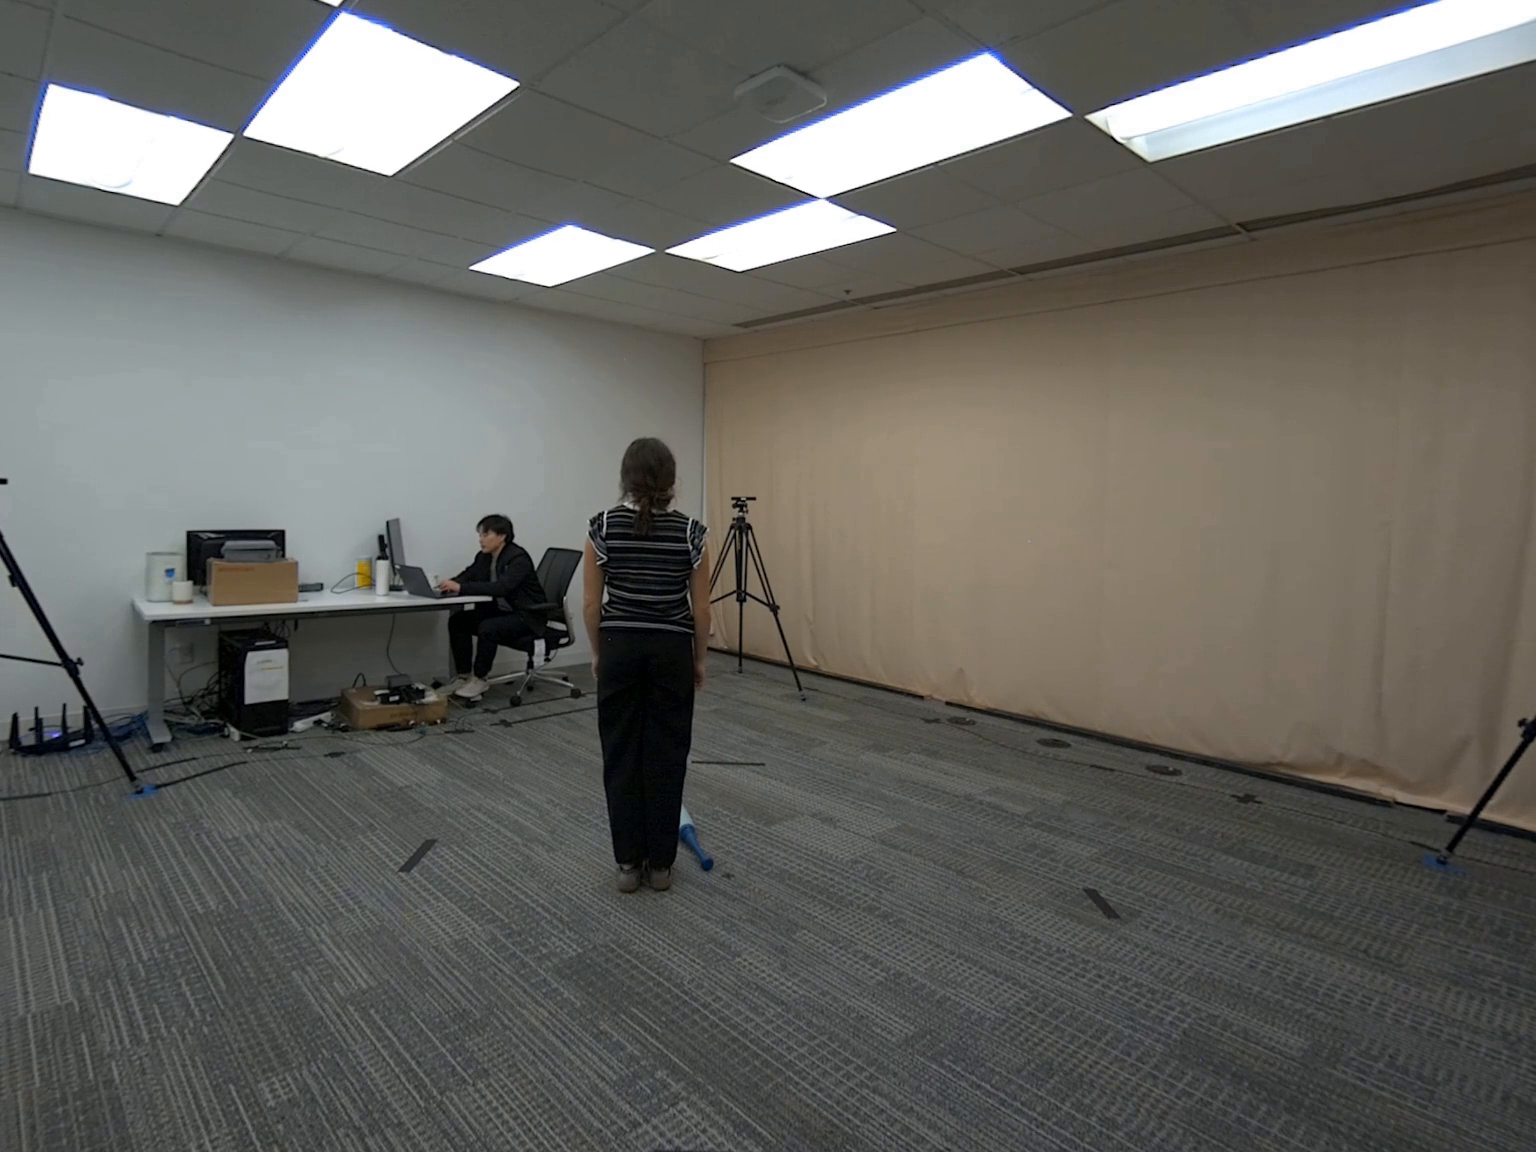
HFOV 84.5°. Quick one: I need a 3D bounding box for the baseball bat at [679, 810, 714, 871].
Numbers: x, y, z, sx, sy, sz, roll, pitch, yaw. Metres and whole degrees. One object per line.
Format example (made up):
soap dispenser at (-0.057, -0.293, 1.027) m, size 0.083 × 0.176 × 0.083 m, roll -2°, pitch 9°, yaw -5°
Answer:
baseball bat at (-0.328, 1.042, 3.394) m, size 0.088 × 0.088 × 0.553 m, roll 0°, pitch 8°, yaw -20°
